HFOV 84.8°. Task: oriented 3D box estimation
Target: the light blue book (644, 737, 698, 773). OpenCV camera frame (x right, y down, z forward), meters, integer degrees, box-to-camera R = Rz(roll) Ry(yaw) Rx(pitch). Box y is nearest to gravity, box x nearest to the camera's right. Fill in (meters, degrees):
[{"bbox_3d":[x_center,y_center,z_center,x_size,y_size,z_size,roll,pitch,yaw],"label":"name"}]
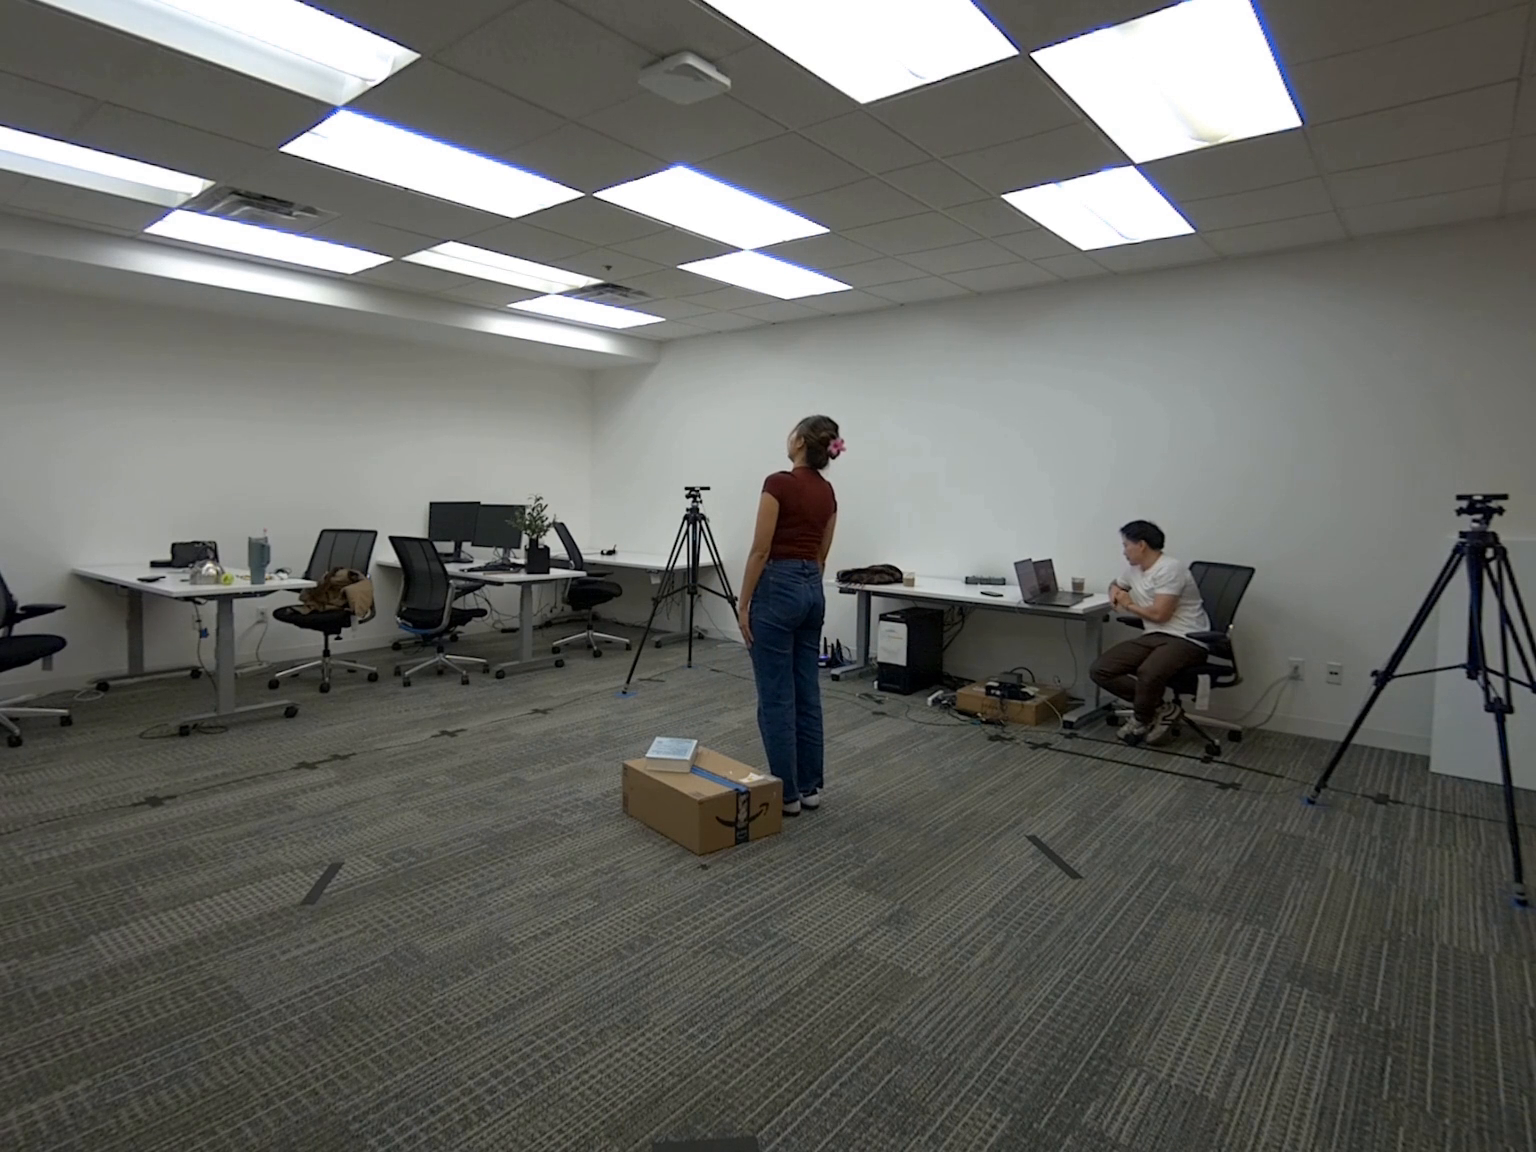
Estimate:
[{"bbox_3d":[-0.427,0.765,3.670,0.192,0.059,0.261,2,7,4],"label":"light blue book"}]
